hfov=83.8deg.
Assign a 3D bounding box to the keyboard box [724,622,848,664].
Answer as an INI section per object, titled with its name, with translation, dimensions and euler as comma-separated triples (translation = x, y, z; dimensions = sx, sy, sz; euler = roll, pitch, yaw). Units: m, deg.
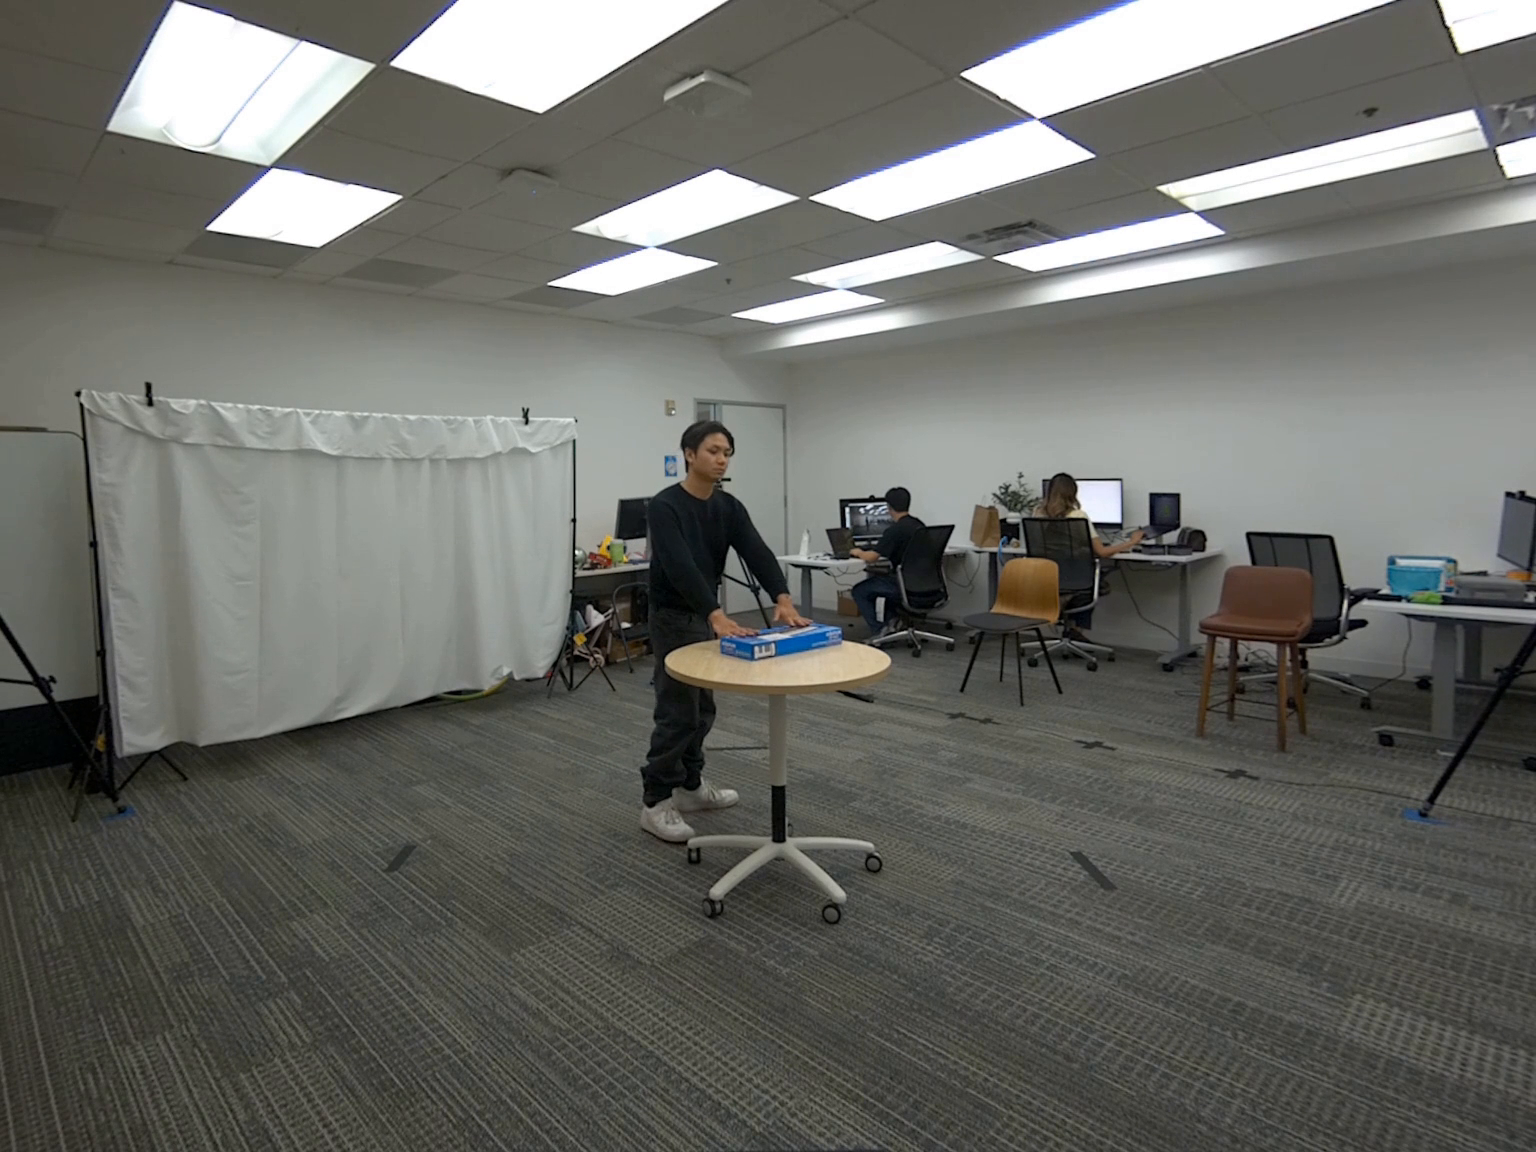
[keyboard box]
translation = 0.067, 0.233, 3.063
dimensions = 0.426, 0.059, 0.181
euler = -7, 9, -40
